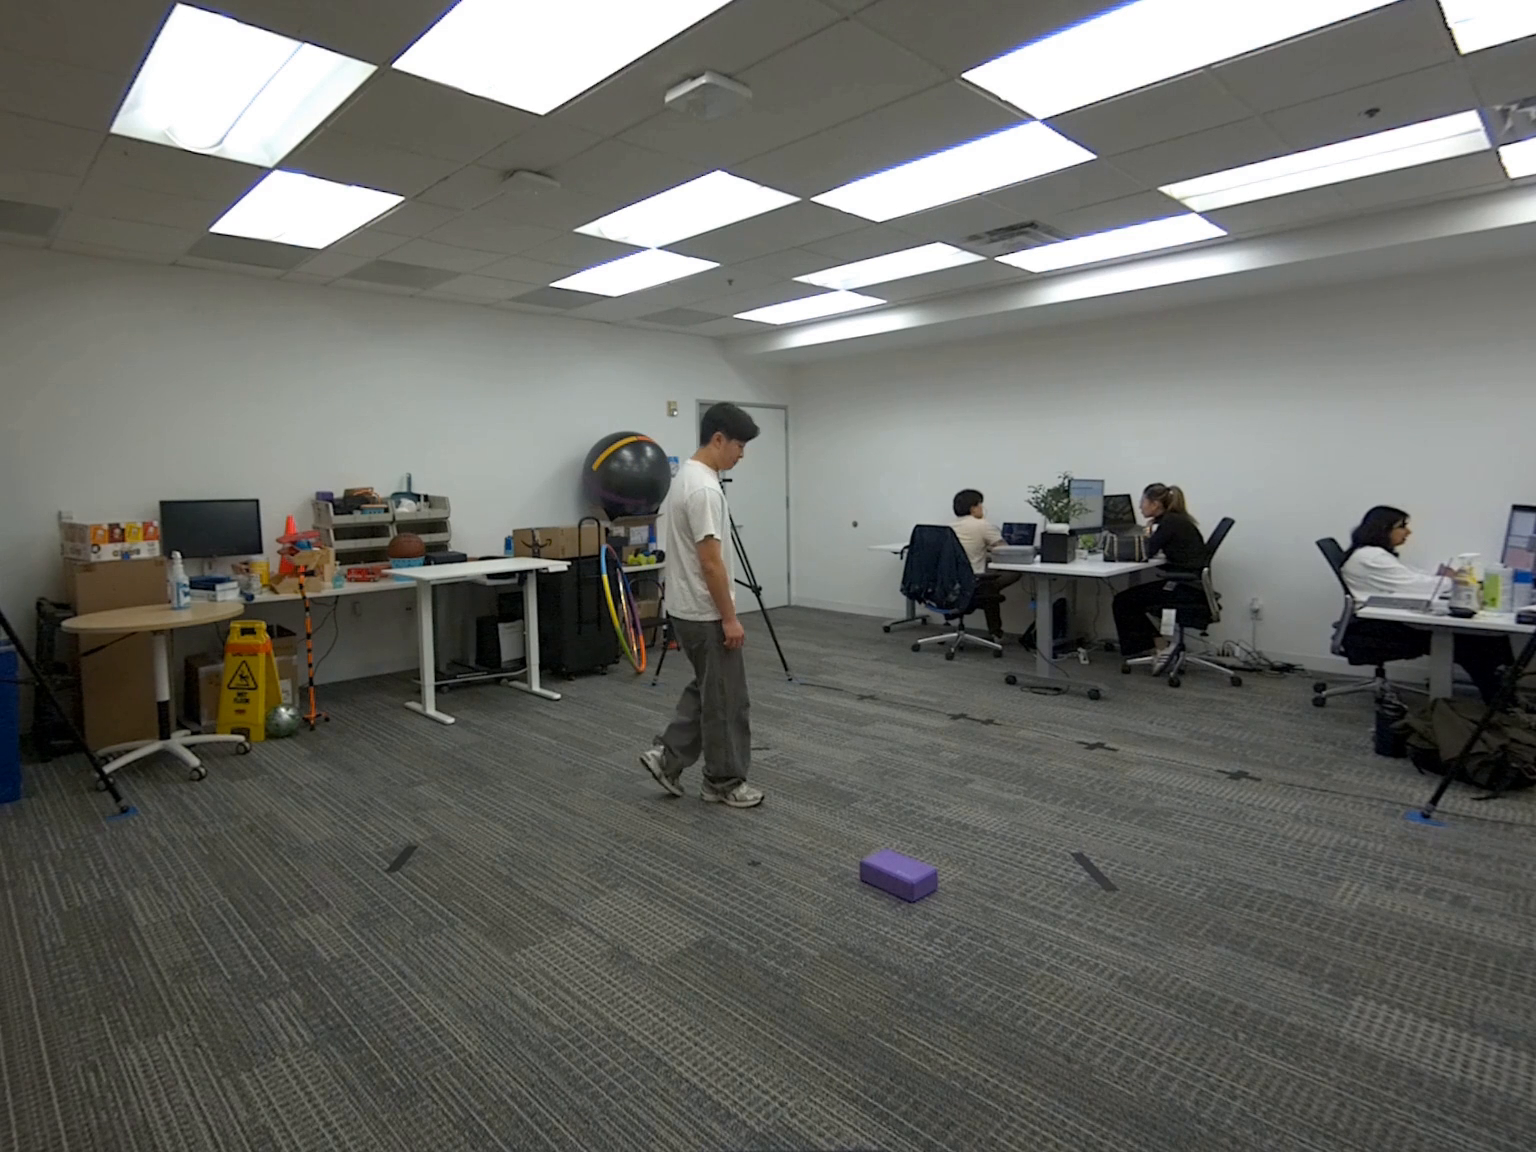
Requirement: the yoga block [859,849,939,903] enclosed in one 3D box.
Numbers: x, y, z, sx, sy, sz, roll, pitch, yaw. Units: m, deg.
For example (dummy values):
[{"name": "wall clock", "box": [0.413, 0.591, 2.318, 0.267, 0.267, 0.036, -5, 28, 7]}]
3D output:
[{"name": "yoga block", "box": [0.450, 1.021, 2.922, 0.145, 0.076, 0.236, -6, 8, -42]}]
